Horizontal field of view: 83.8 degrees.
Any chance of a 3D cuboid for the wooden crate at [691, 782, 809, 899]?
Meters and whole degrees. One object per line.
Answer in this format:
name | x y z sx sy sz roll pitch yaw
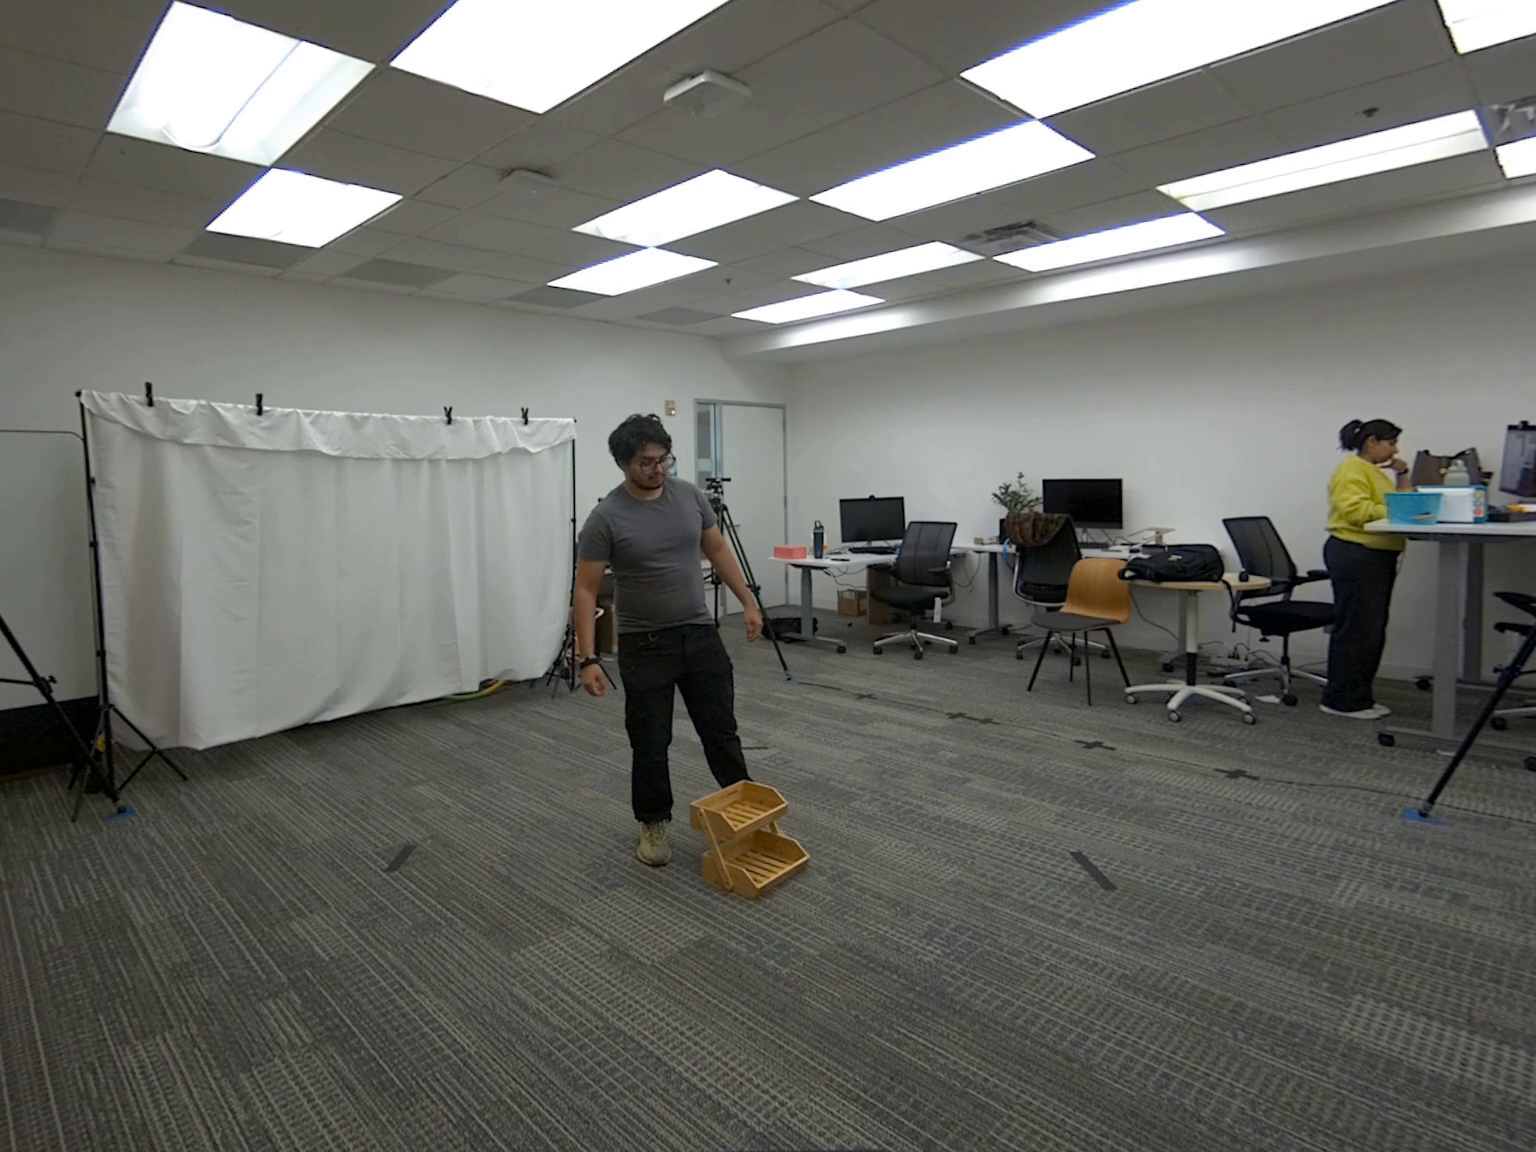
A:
wooden crate | -0.059 0.919 3.018 0.311 0.272 0.316 3 6 40
